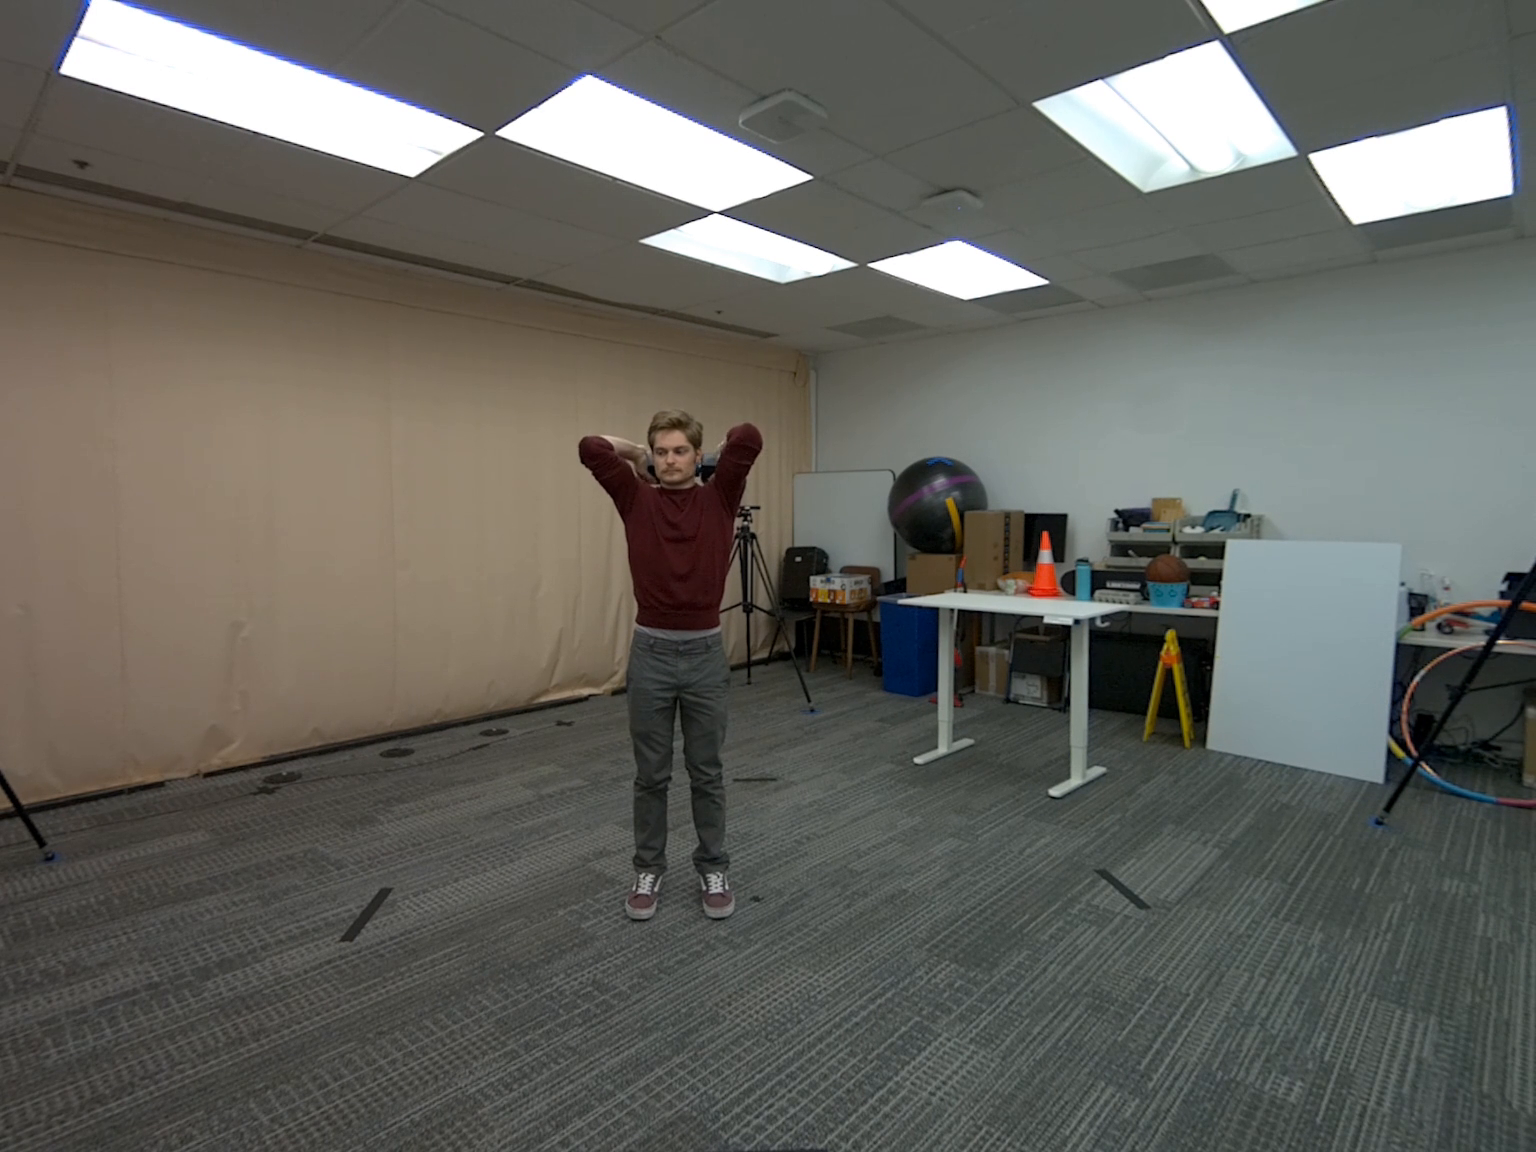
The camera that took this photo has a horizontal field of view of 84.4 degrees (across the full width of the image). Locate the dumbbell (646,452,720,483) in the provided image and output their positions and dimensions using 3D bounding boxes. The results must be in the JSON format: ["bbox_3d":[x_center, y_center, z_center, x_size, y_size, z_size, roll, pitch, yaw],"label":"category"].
[{"bbox_3d":[-0.314,-0.426,3.078,0.294,0.121,0.110,0,26,1],"label":"dumbbell"}]
